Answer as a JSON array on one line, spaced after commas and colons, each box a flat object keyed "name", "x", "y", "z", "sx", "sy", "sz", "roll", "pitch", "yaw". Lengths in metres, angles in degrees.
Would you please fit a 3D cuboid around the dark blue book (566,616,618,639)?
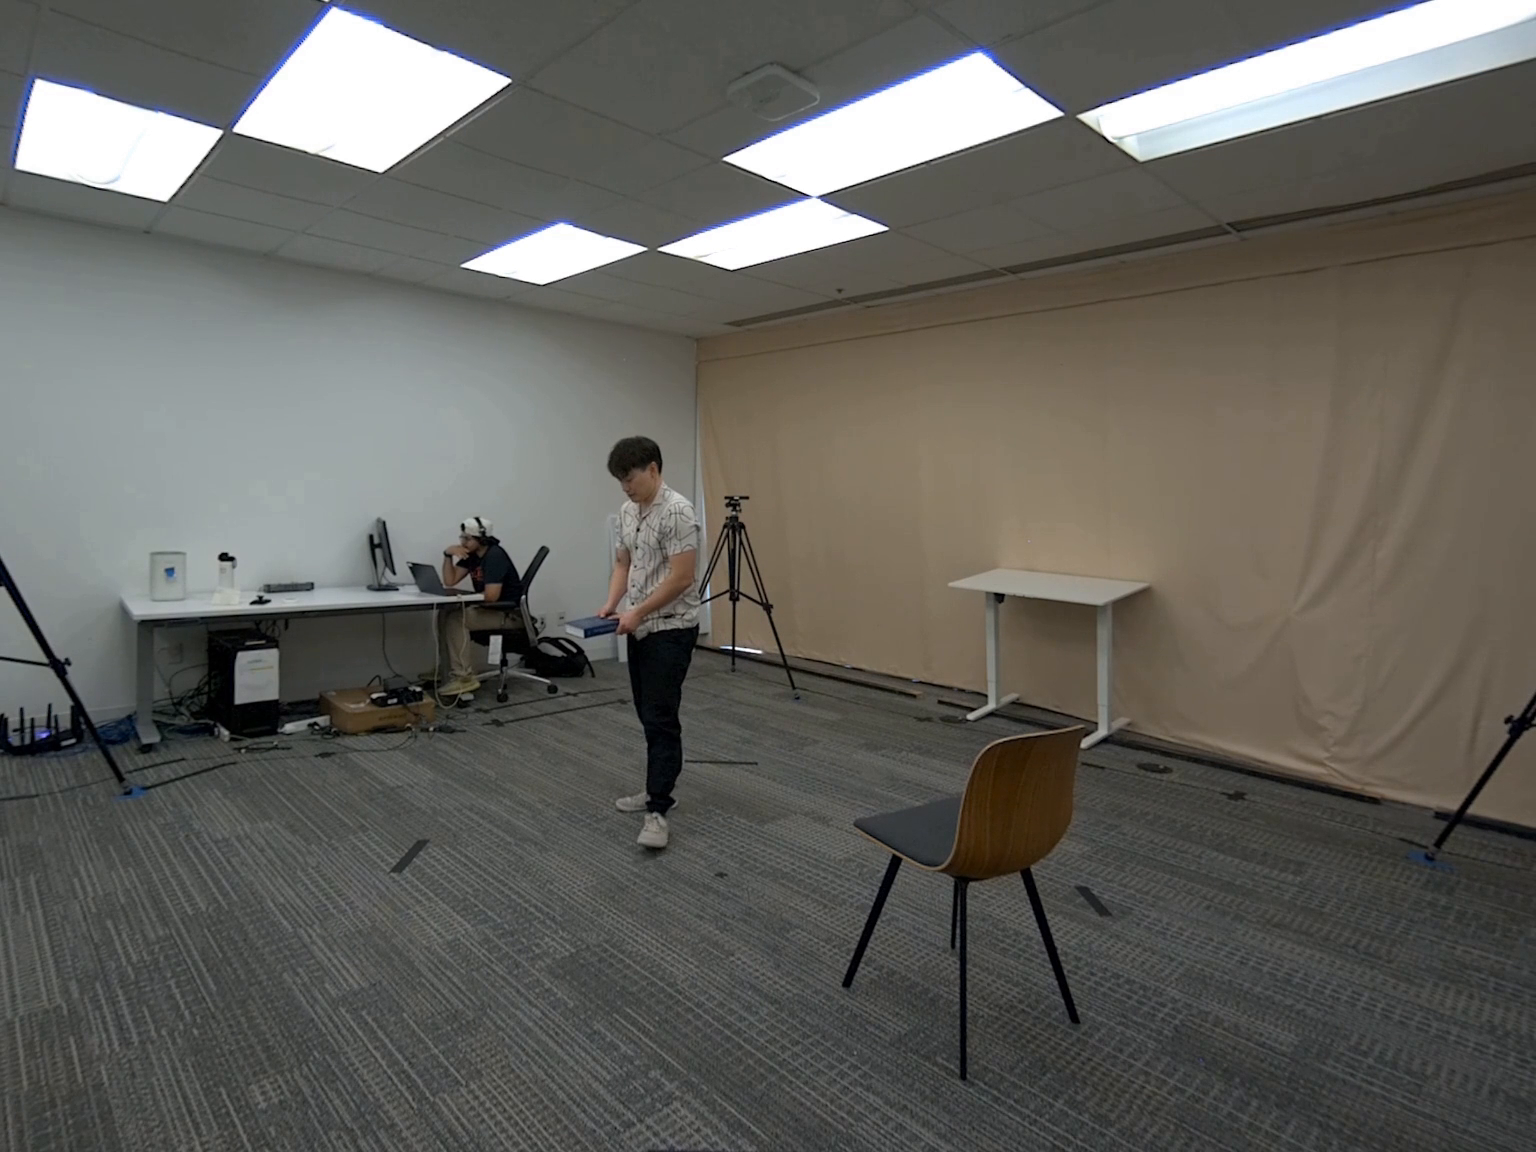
[{"name": "dark blue book", "x": -0.712, "y": 0.205, "z": 3.485, "sx": 0.240, "sy": 0.045, "sz": 0.168, "roll": -10, "pitch": 13, "yaw": -41}]
